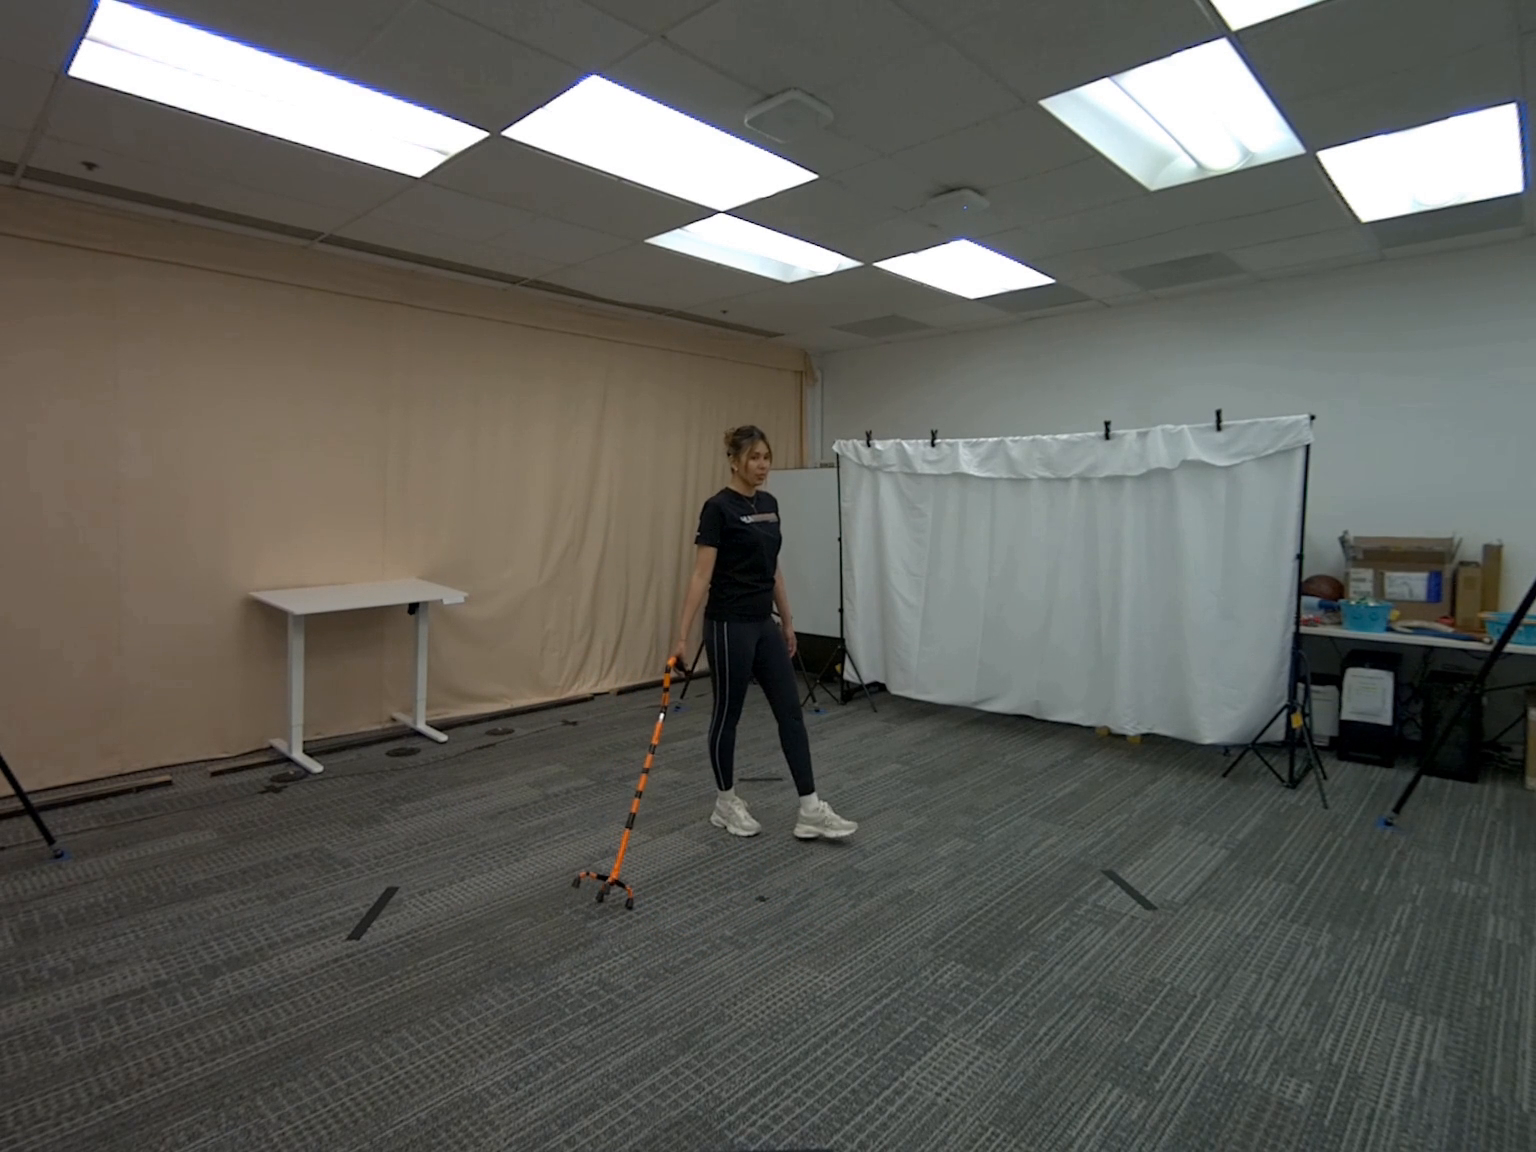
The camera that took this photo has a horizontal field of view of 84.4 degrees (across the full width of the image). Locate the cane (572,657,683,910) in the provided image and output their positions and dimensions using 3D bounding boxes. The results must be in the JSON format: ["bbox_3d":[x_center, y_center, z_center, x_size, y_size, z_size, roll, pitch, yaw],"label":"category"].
[{"bbox_3d":[-0.459,0.714,3.094,0.155,0.915,0.199,0,-32,26],"label":"cane"}]
